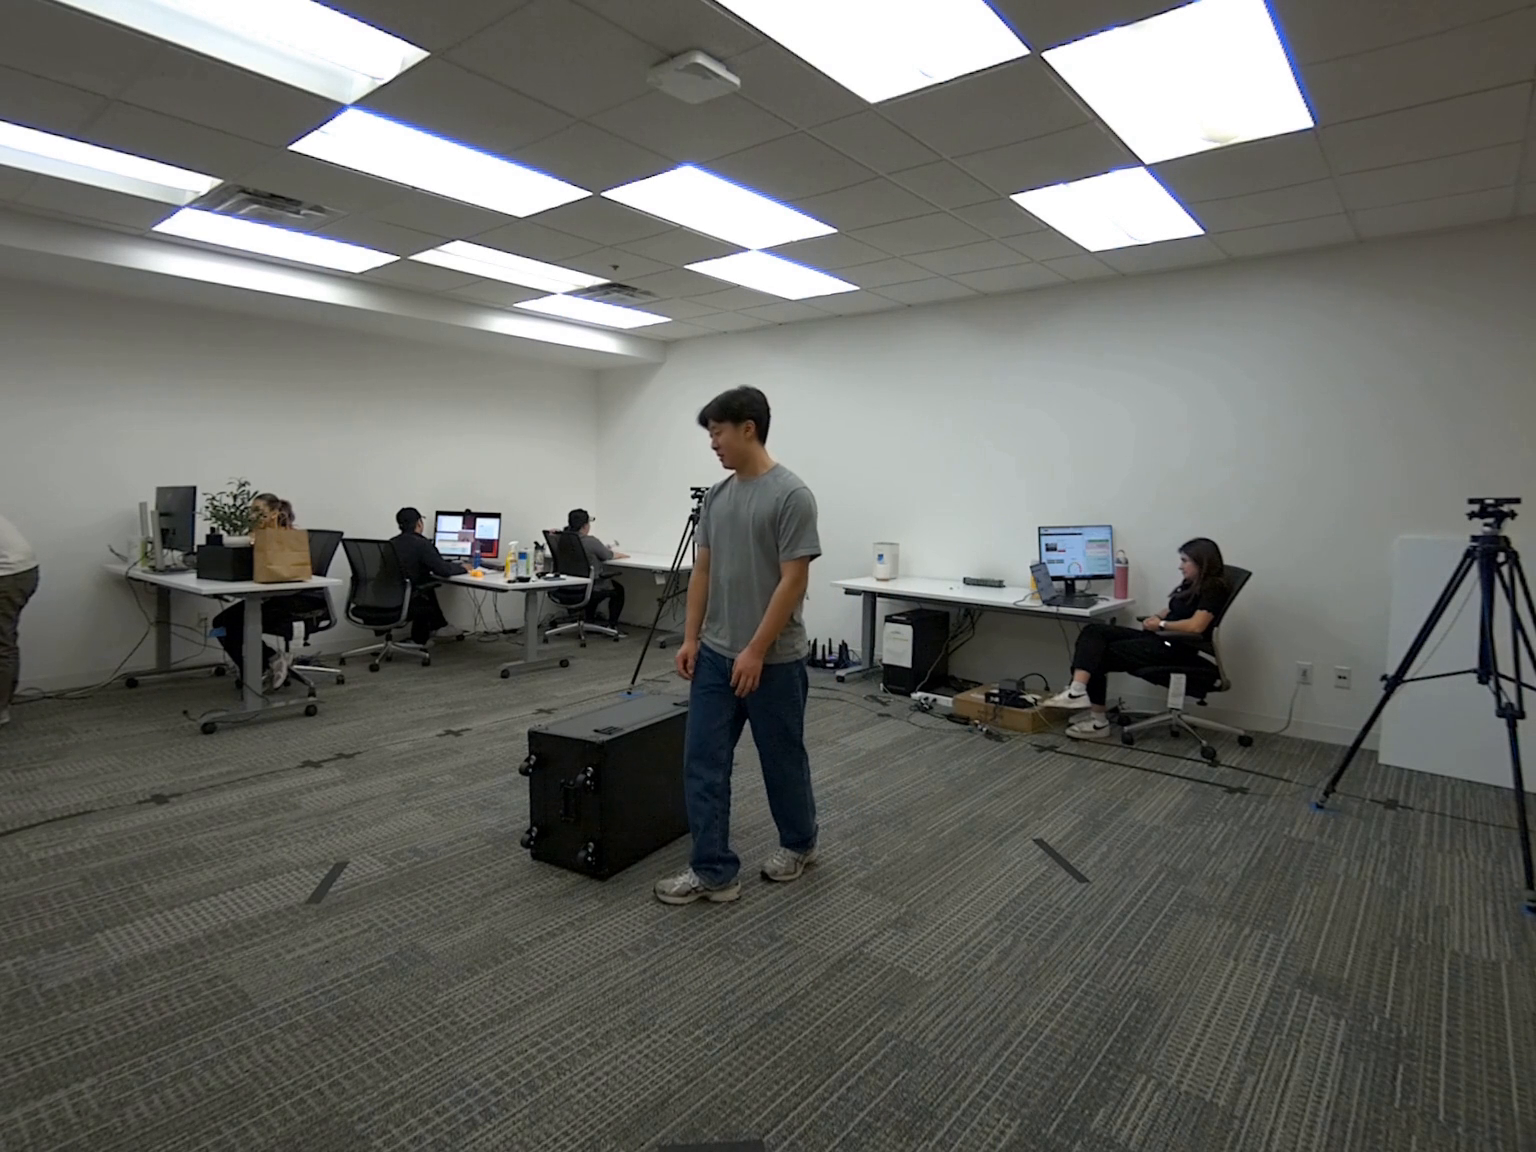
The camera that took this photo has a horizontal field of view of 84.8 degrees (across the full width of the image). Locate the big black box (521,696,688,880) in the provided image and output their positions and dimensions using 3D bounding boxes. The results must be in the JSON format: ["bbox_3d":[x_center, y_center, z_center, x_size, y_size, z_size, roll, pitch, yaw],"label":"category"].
[{"bbox_3d":[-0.584,0.780,3.366,0.407,0.520,0.839,0,4,30],"label":"big black box"}]
